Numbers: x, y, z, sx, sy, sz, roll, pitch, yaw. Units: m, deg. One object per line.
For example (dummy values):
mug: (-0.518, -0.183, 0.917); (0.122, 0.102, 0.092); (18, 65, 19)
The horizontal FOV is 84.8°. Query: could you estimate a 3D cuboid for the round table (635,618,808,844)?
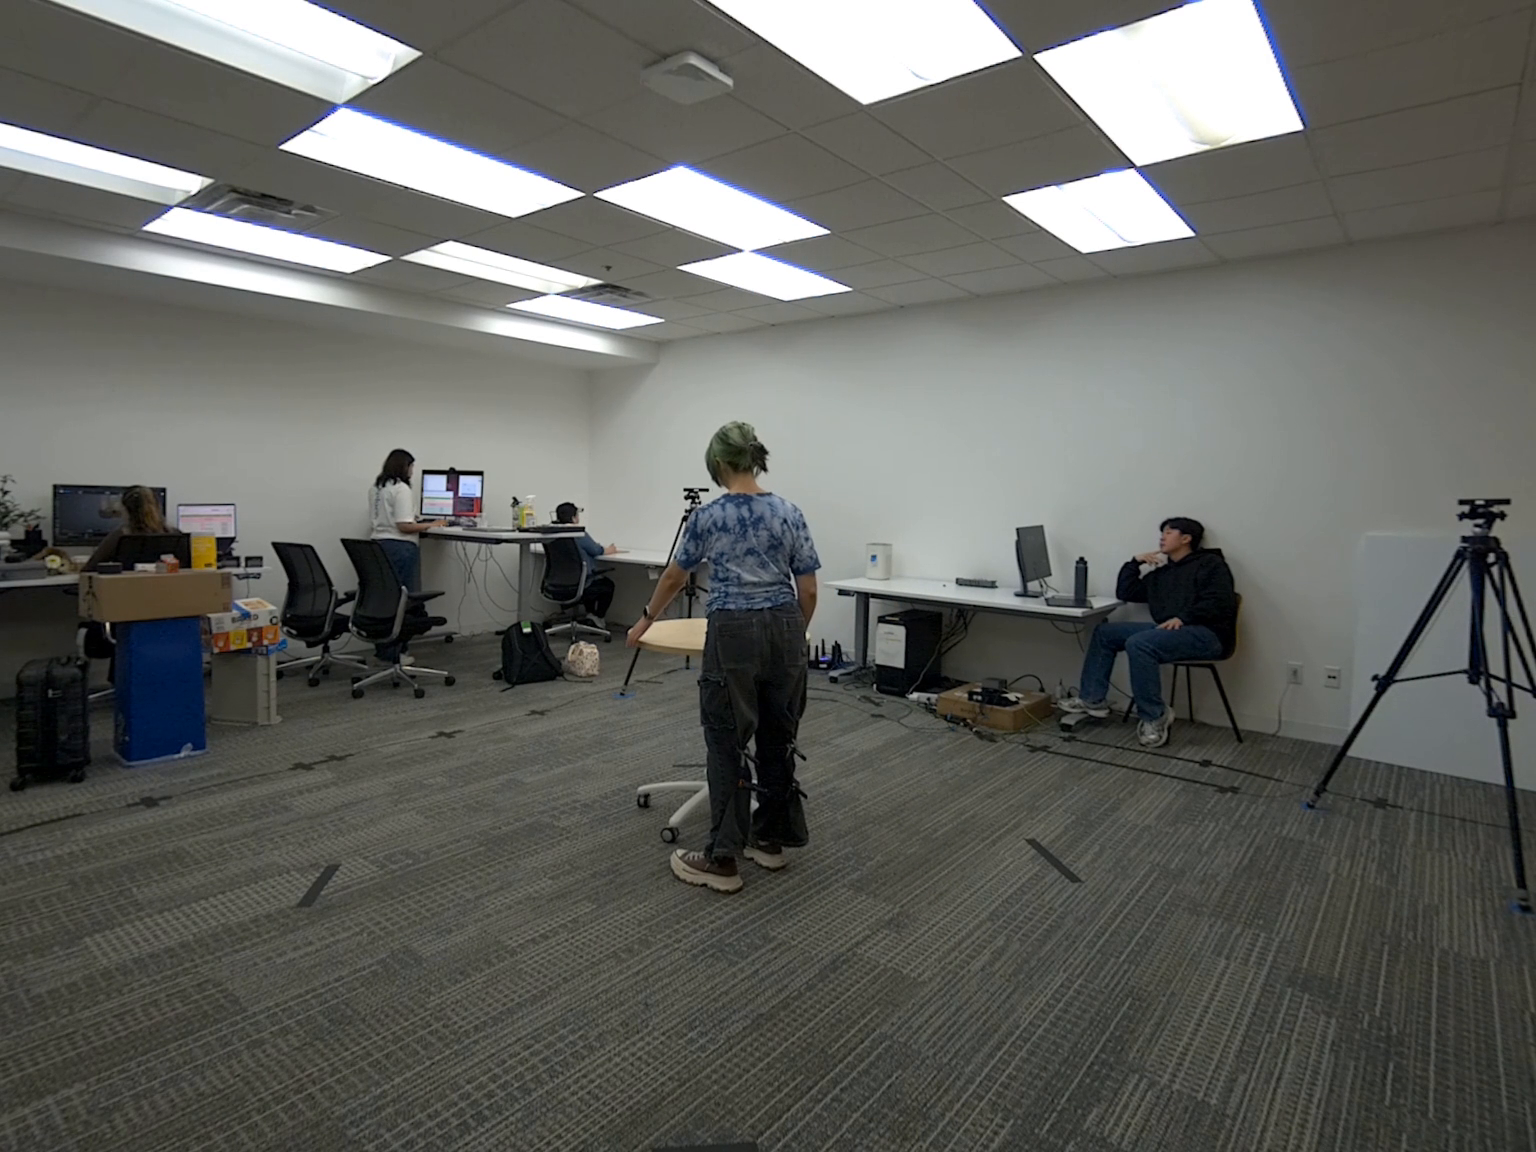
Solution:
round table: (-0.233, 0.630, 3.613); (0.763, 0.791, 0.767); (0, 4, -2)
